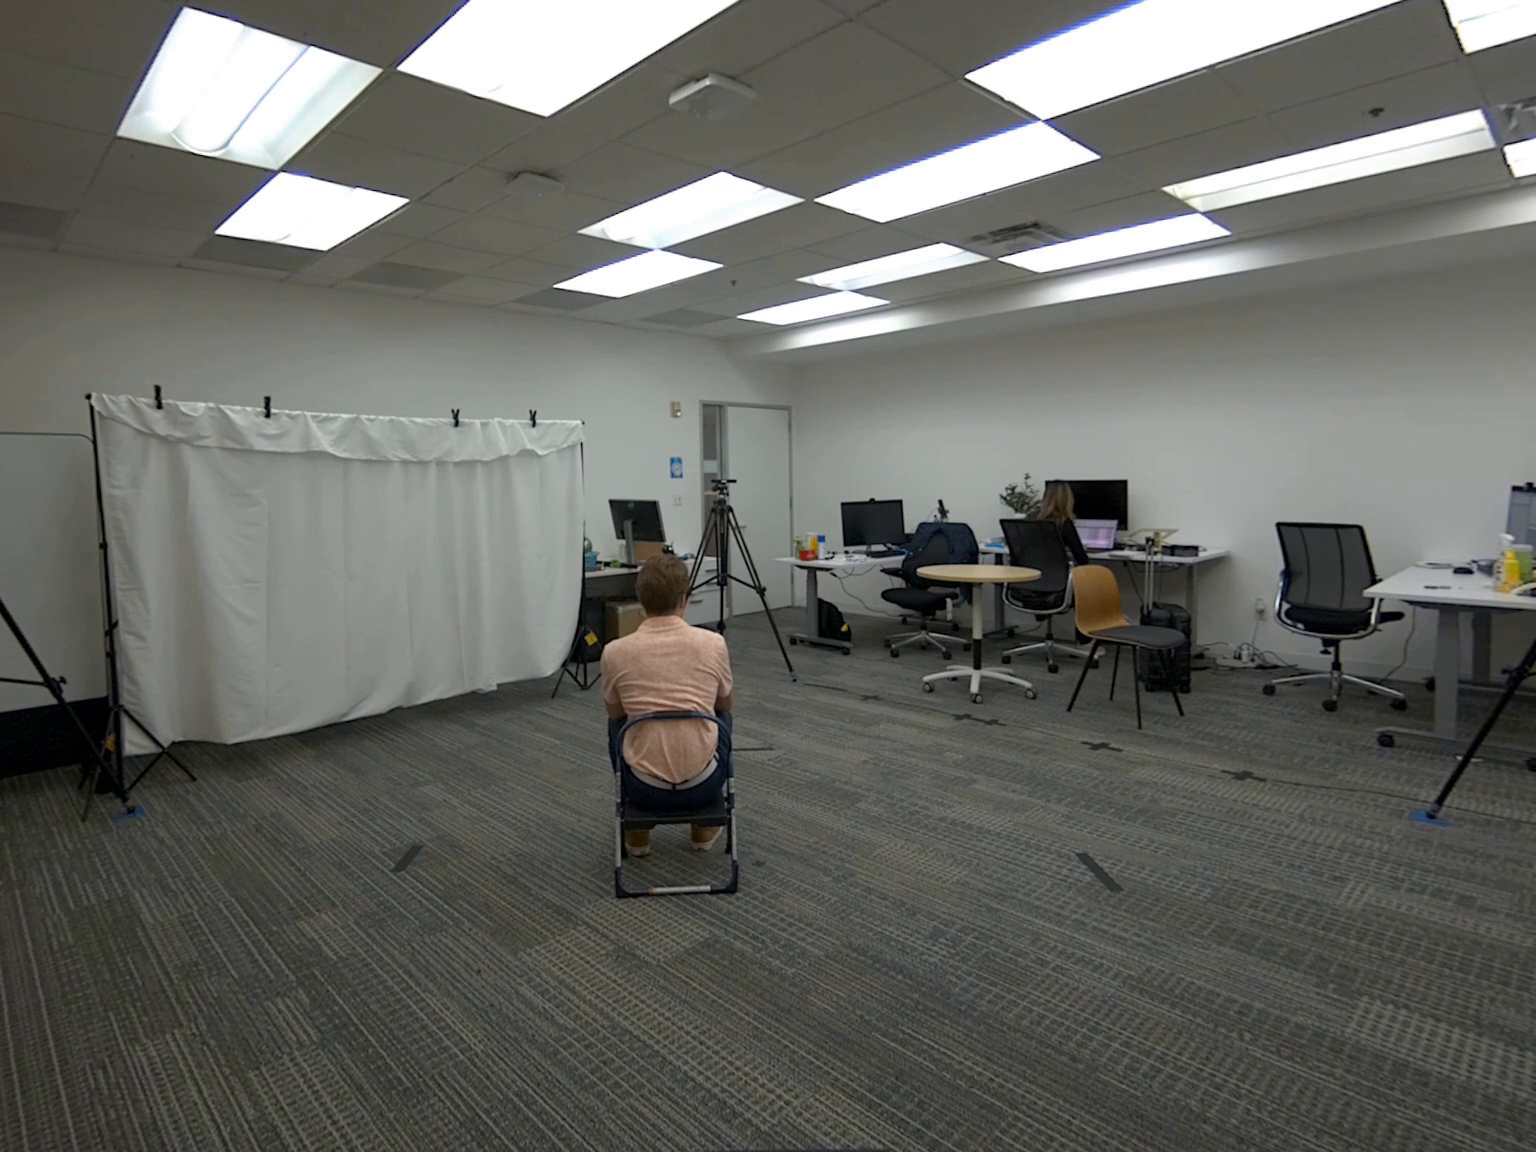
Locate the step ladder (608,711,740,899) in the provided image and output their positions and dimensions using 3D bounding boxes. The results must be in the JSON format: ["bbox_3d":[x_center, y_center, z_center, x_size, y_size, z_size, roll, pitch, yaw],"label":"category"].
[{"bbox_3d":[-0.331,0.770,3.028,0.429,0.604,0.352,-1,3,-5],"label":"step ladder"}]
